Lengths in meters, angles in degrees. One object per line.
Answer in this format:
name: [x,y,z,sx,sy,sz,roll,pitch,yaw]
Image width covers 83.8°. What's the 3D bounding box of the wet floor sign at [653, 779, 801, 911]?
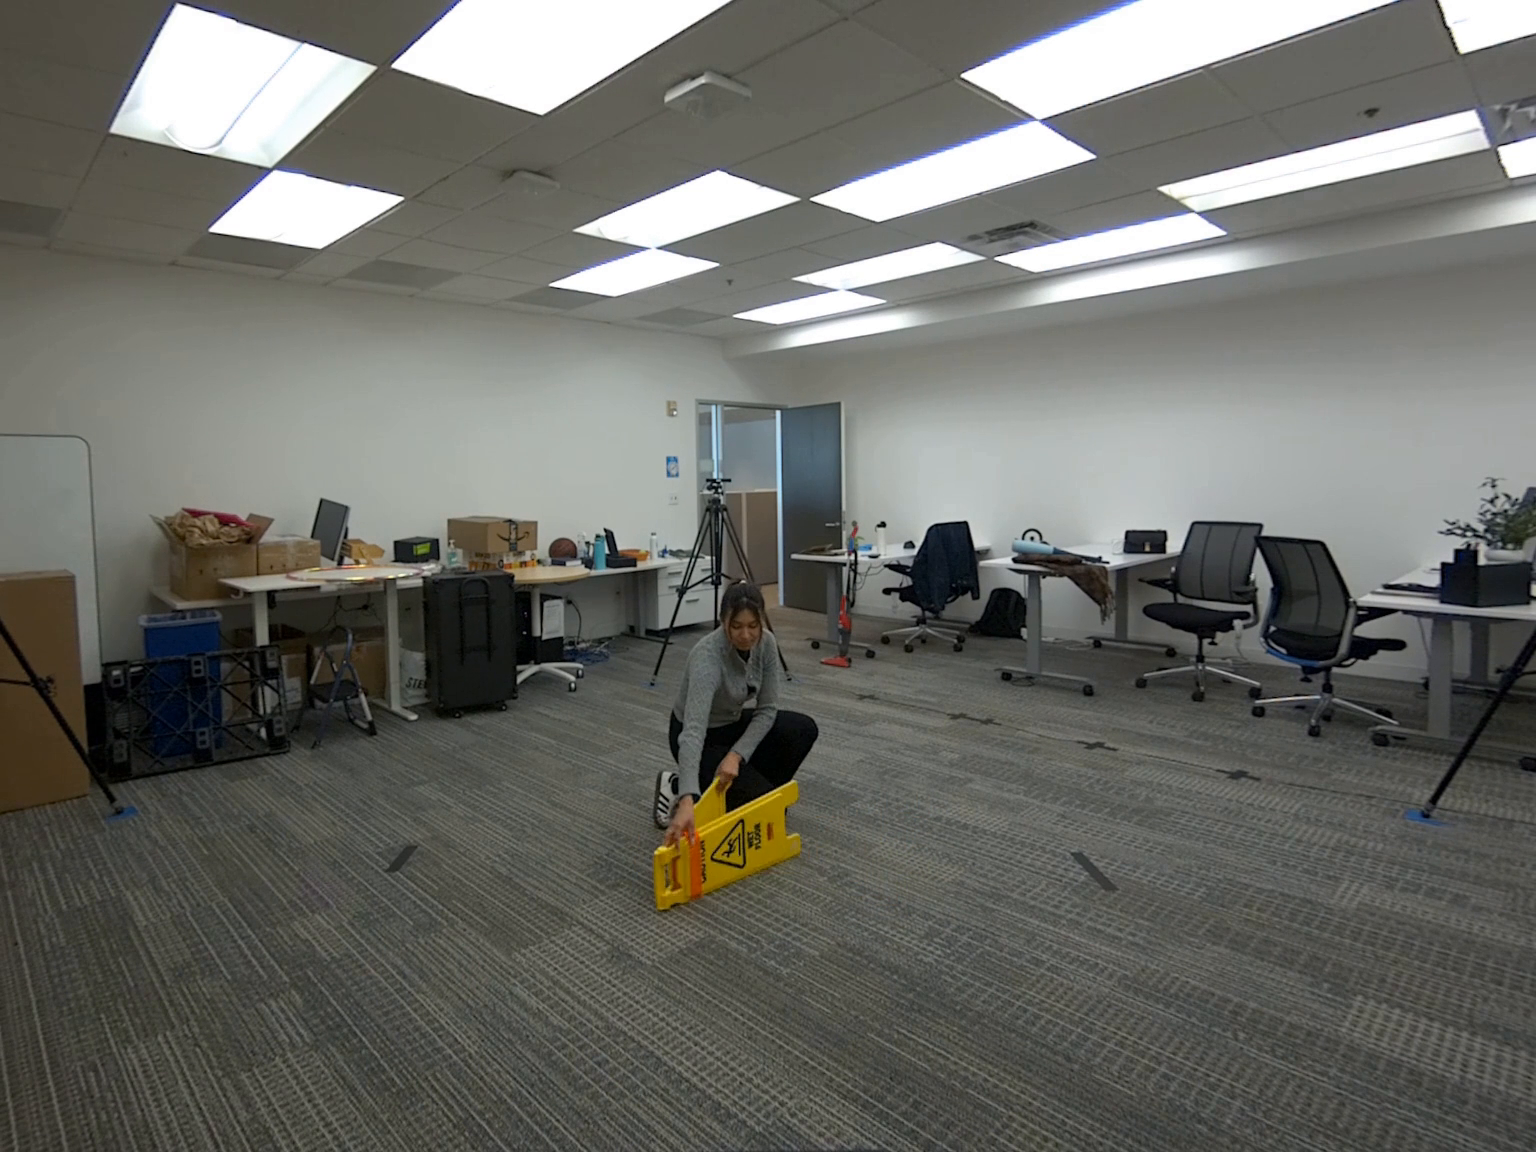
wet floor sign: [-0.182,0.938,3.008,0.298,0.280,0.632,3,10,34]
